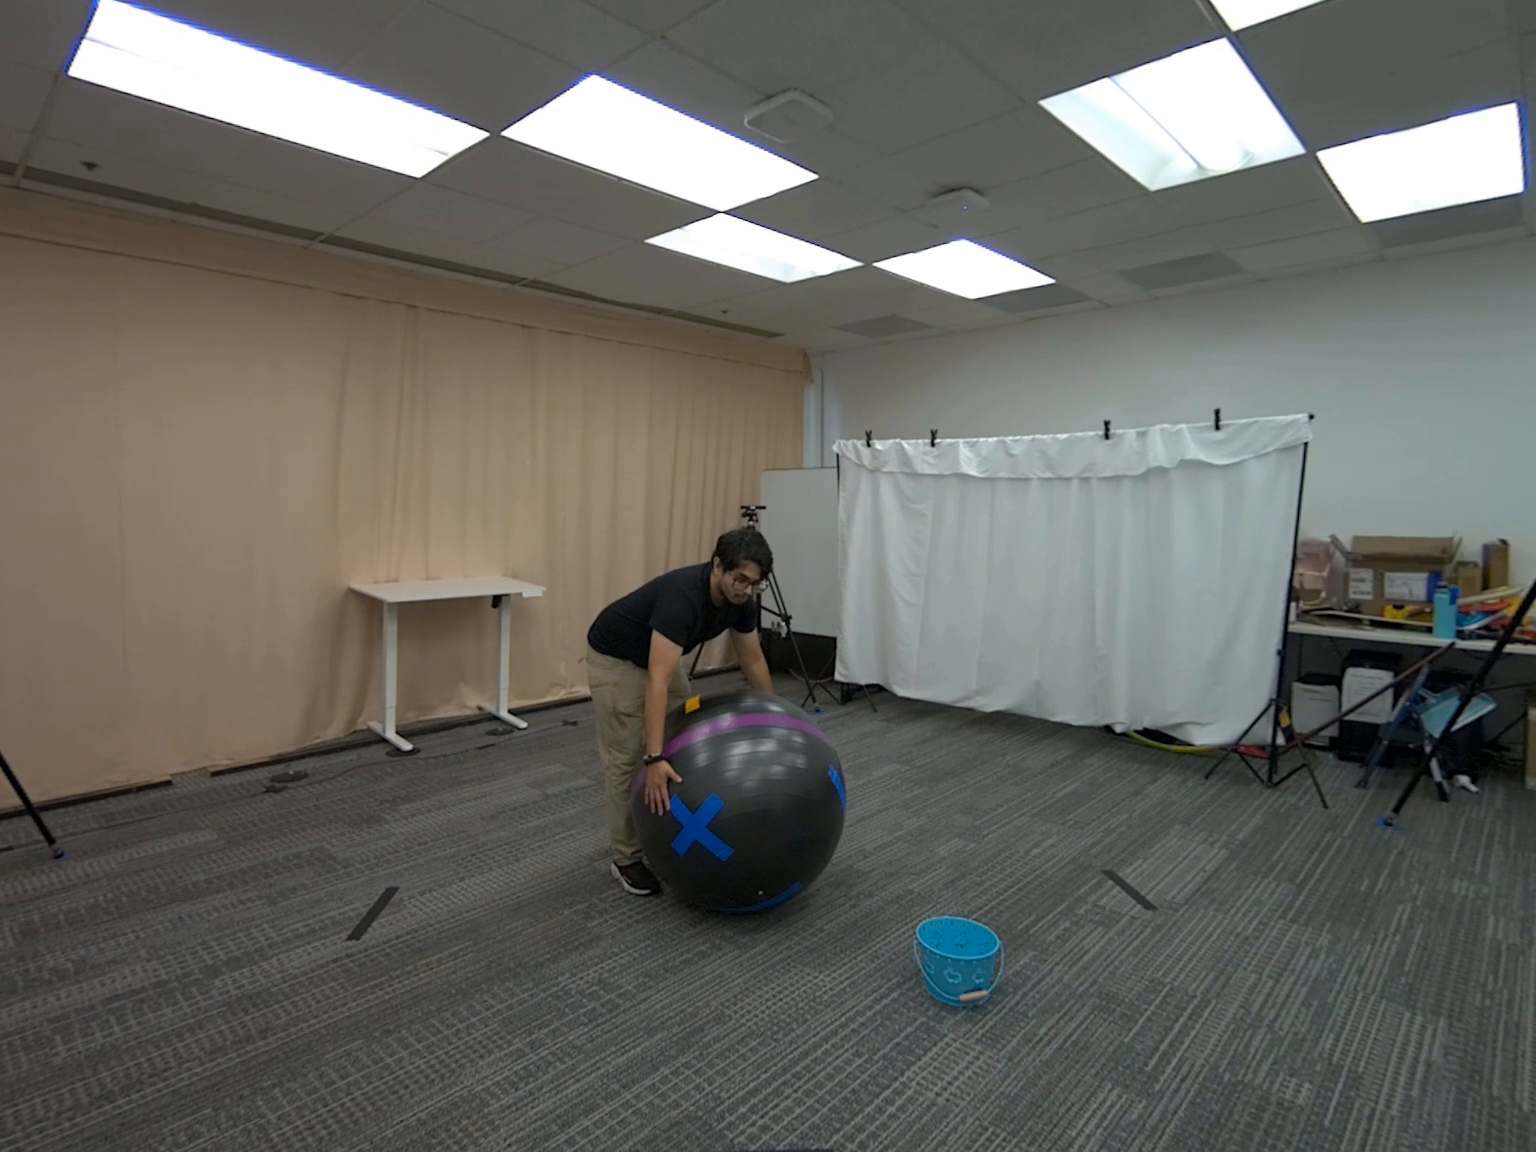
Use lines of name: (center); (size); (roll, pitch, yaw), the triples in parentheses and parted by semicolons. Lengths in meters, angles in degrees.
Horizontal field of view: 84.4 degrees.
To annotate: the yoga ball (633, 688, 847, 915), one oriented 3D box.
yoga ball: (-0.102, 0.787, 2.980); (0.757, 0.756, 0.760); (0, 4, -2)
